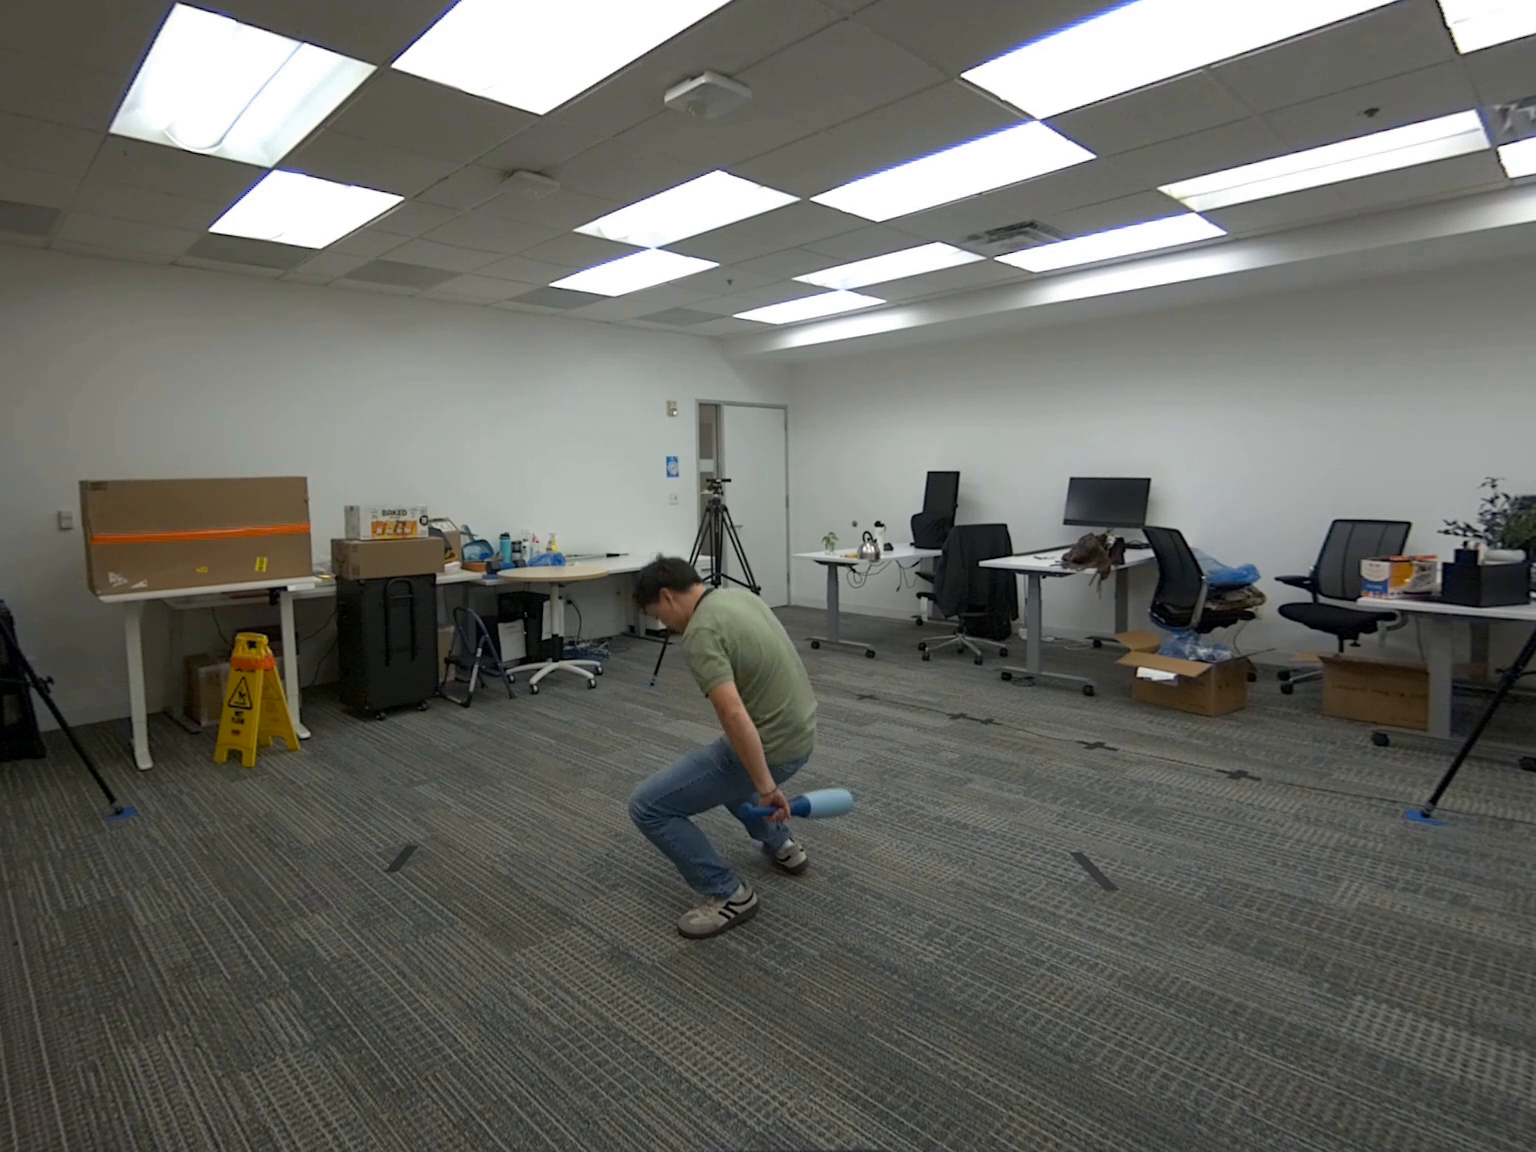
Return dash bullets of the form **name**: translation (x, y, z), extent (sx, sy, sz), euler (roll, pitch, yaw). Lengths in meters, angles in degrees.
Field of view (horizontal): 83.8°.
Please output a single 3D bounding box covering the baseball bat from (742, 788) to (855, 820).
- **baseball bat**: translation (0.093, 0.710, 2.645), extent (0.092, 0.089, 0.525), euler (3, -4, 38)
